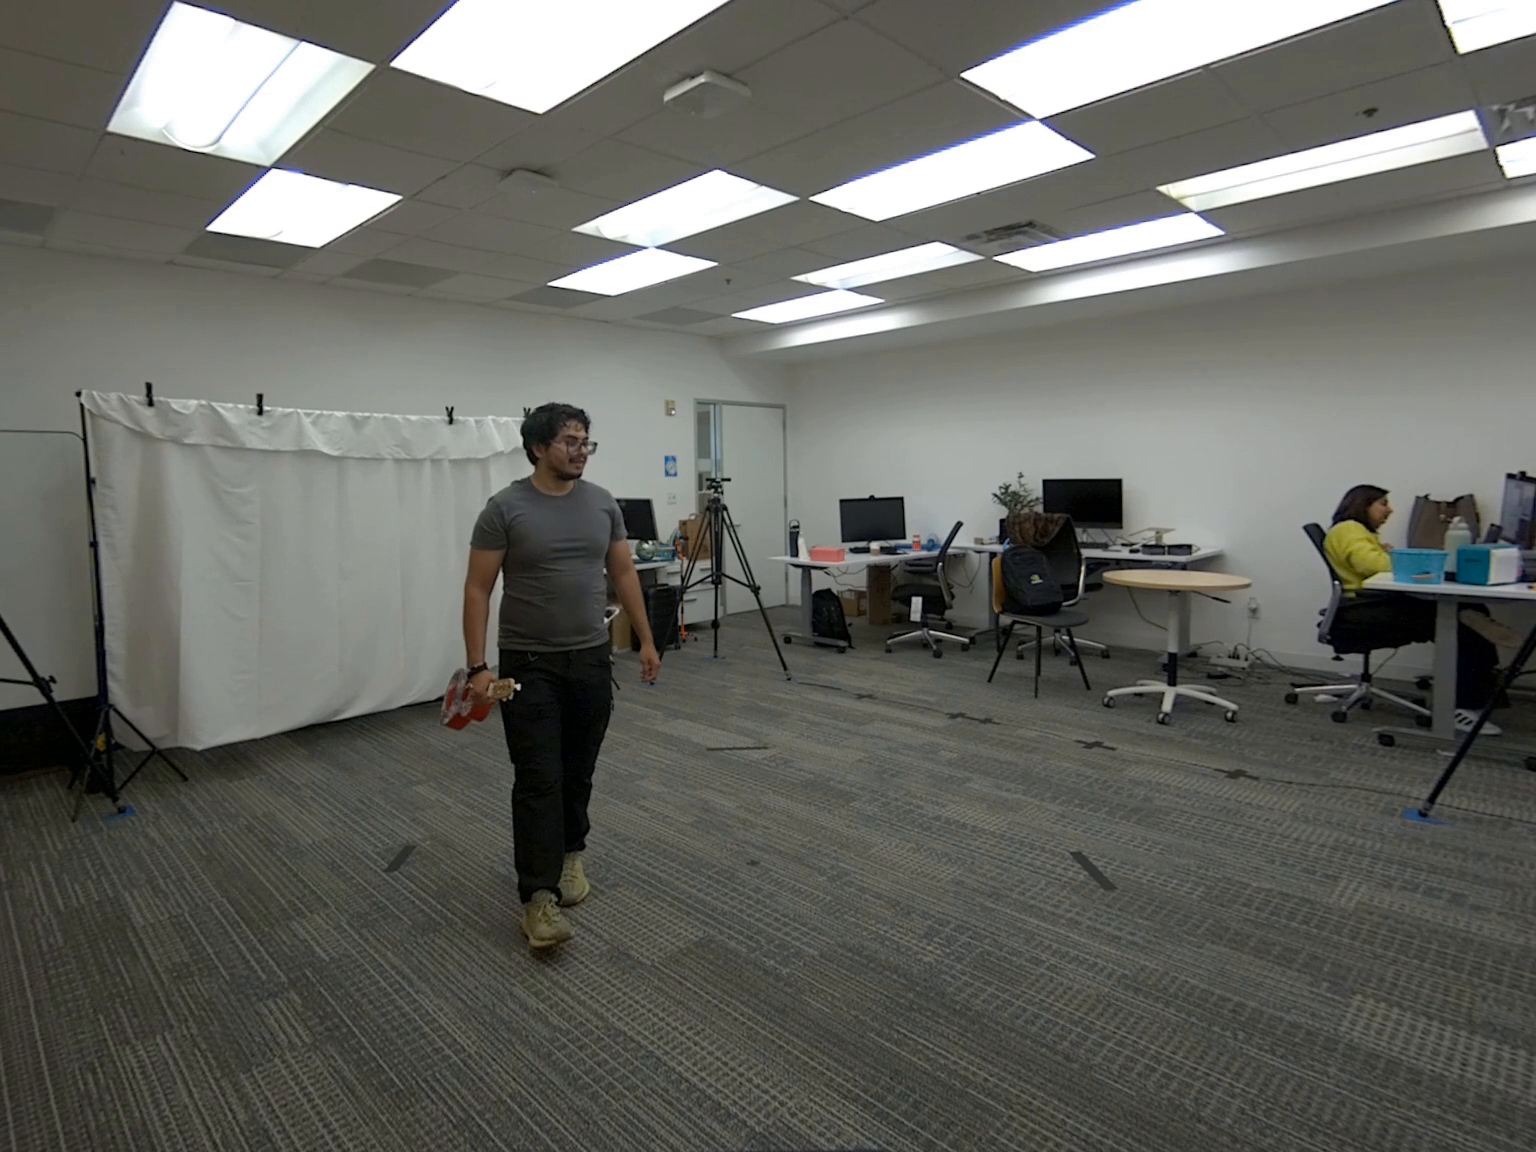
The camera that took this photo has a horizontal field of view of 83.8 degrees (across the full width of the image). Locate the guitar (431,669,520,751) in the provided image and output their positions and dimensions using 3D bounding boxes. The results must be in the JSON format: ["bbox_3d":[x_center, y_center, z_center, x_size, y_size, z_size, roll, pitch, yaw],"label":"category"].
[{"bbox_3d":[-0.895,0.401,2.640,0.068,0.195,0.510,26,-18,-34],"label":"guitar"}]
